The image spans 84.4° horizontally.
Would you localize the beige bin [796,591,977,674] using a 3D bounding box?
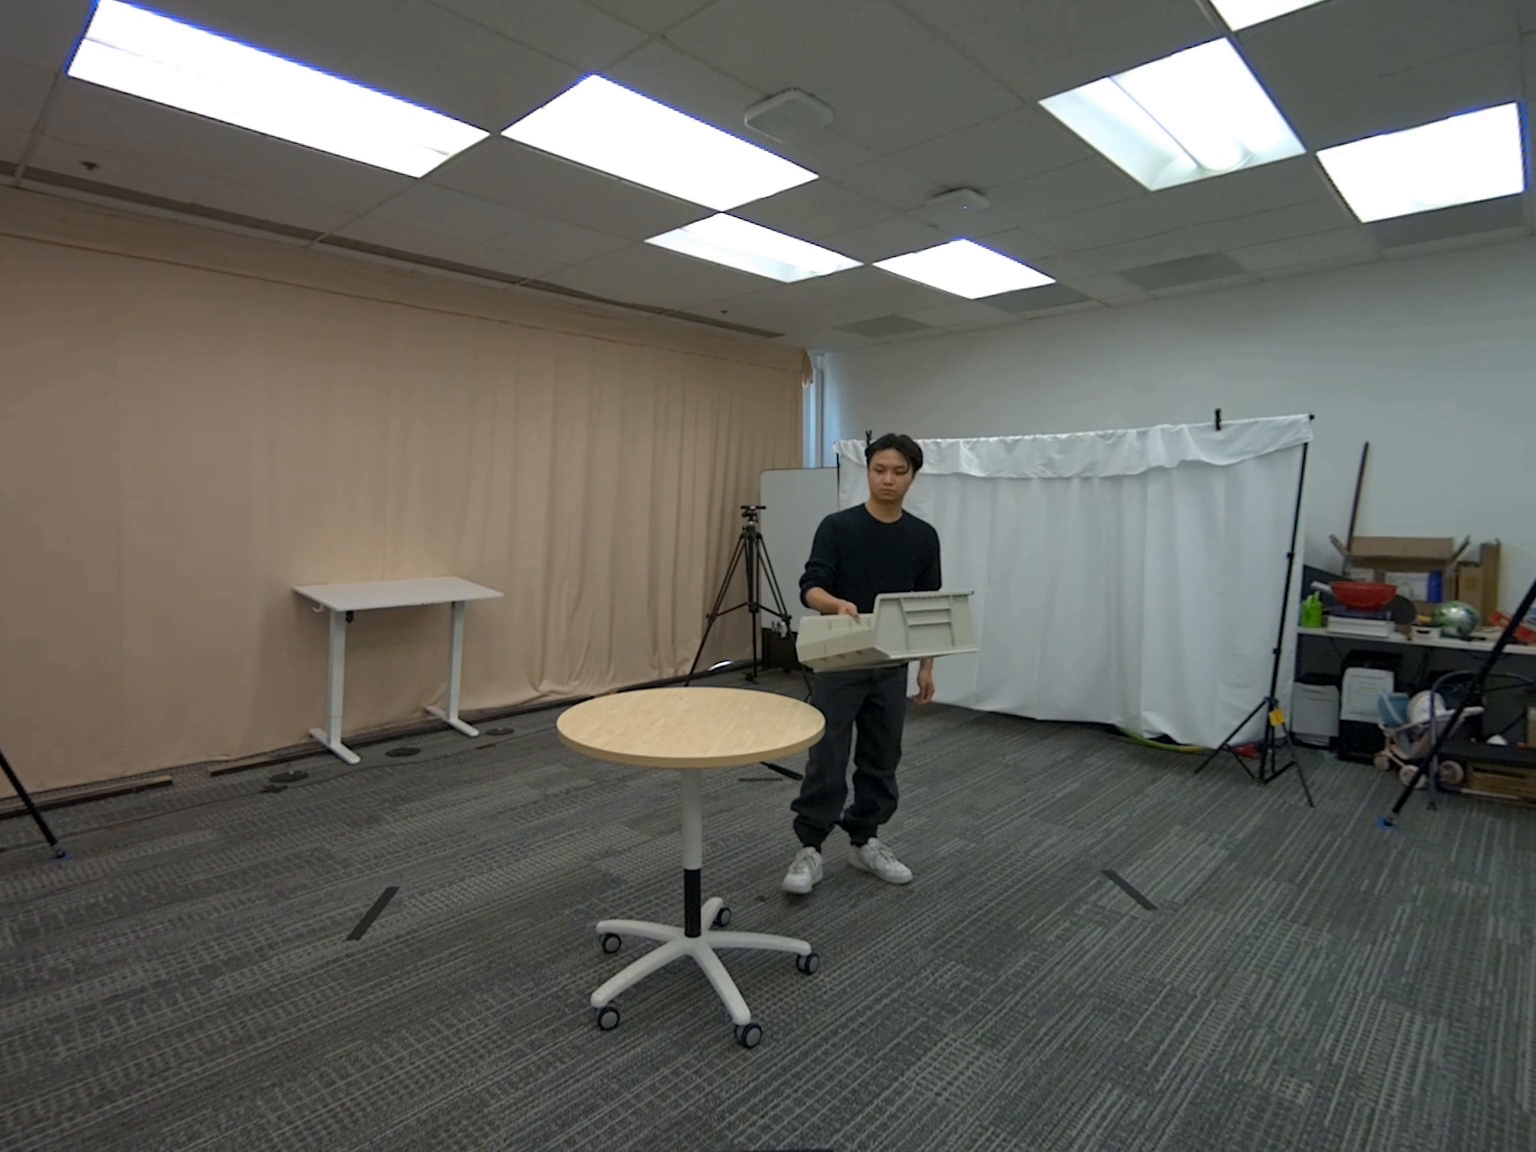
[{"bbox_3d":[0.341,0.182,2.548,0.368,0.190,0.430,0,-11,-27],"label":"beige bin"}]
